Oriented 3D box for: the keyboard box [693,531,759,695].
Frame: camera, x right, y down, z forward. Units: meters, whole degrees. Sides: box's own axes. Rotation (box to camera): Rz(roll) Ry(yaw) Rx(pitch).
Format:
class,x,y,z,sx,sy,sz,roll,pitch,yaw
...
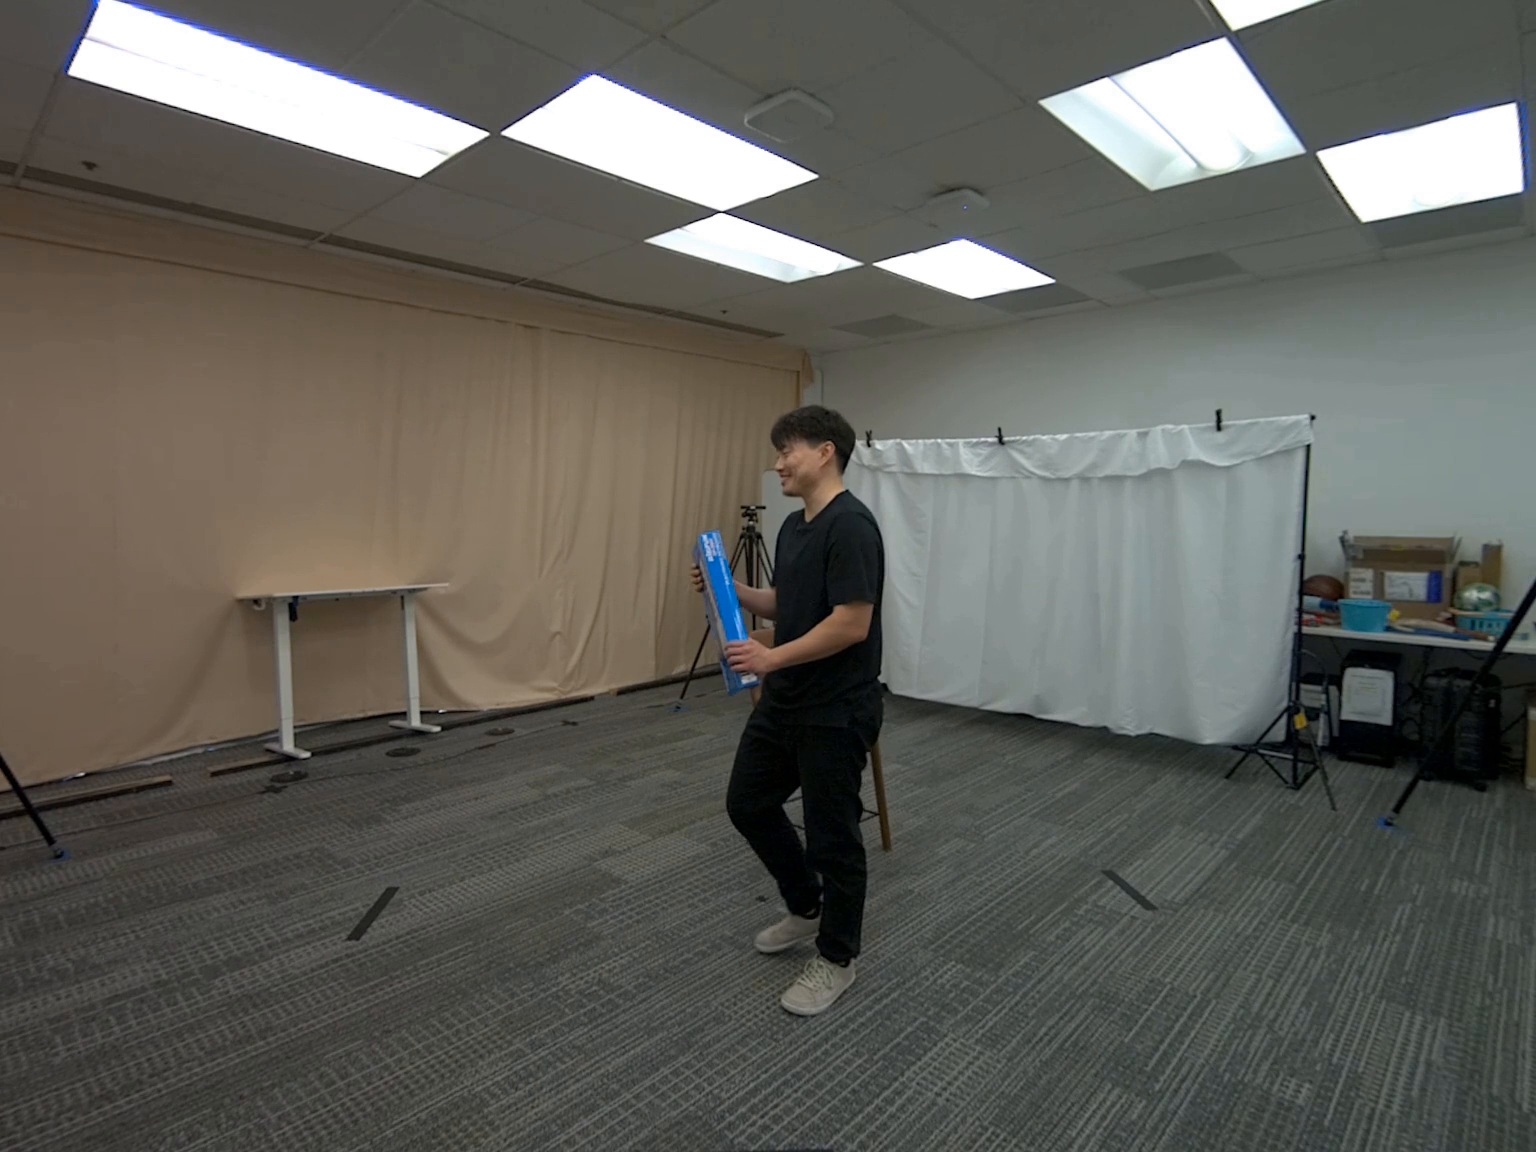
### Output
class,x,y,z,sx,sy,sz,roll,pitch,yaw
keyboard box,-0.119,0.105,2.353,0.058,0.442,0.176,-12,-12,-14
